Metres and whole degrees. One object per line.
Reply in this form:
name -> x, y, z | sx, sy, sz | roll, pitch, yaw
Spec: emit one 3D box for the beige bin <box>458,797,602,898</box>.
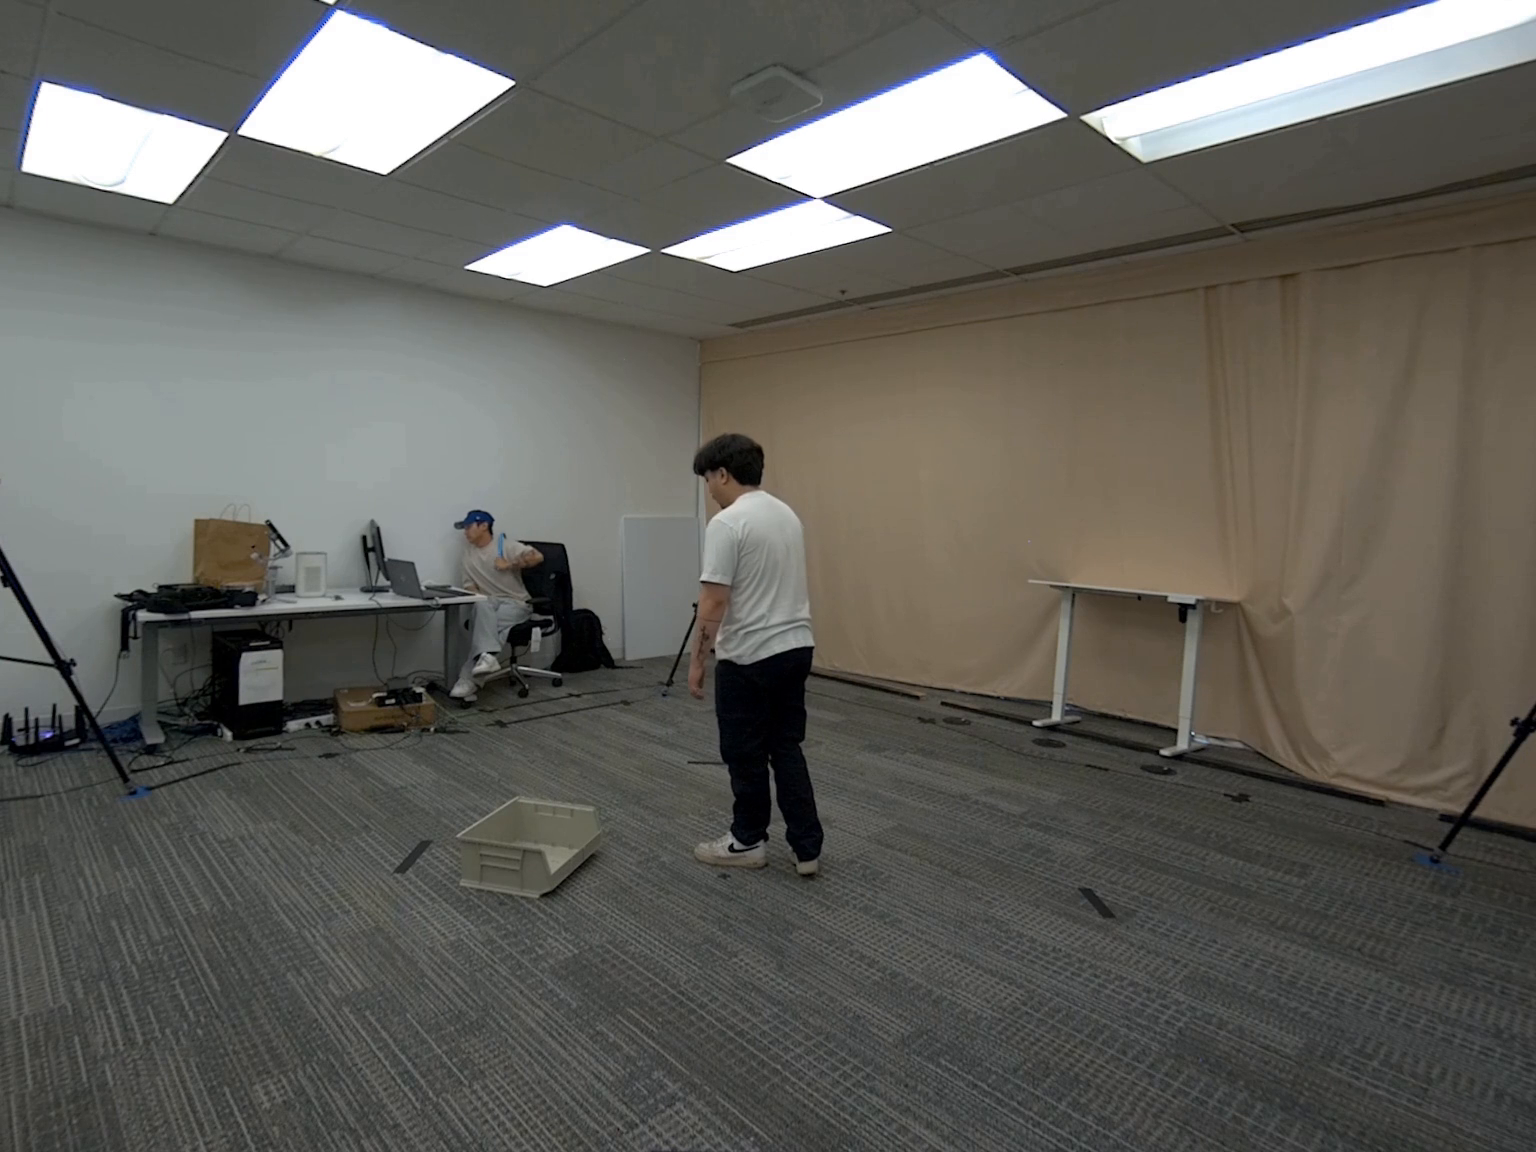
beige bin -> -0.879, 1.000, 3.121 | 0.382, 0.188, 0.418 | 2, 6, 14
